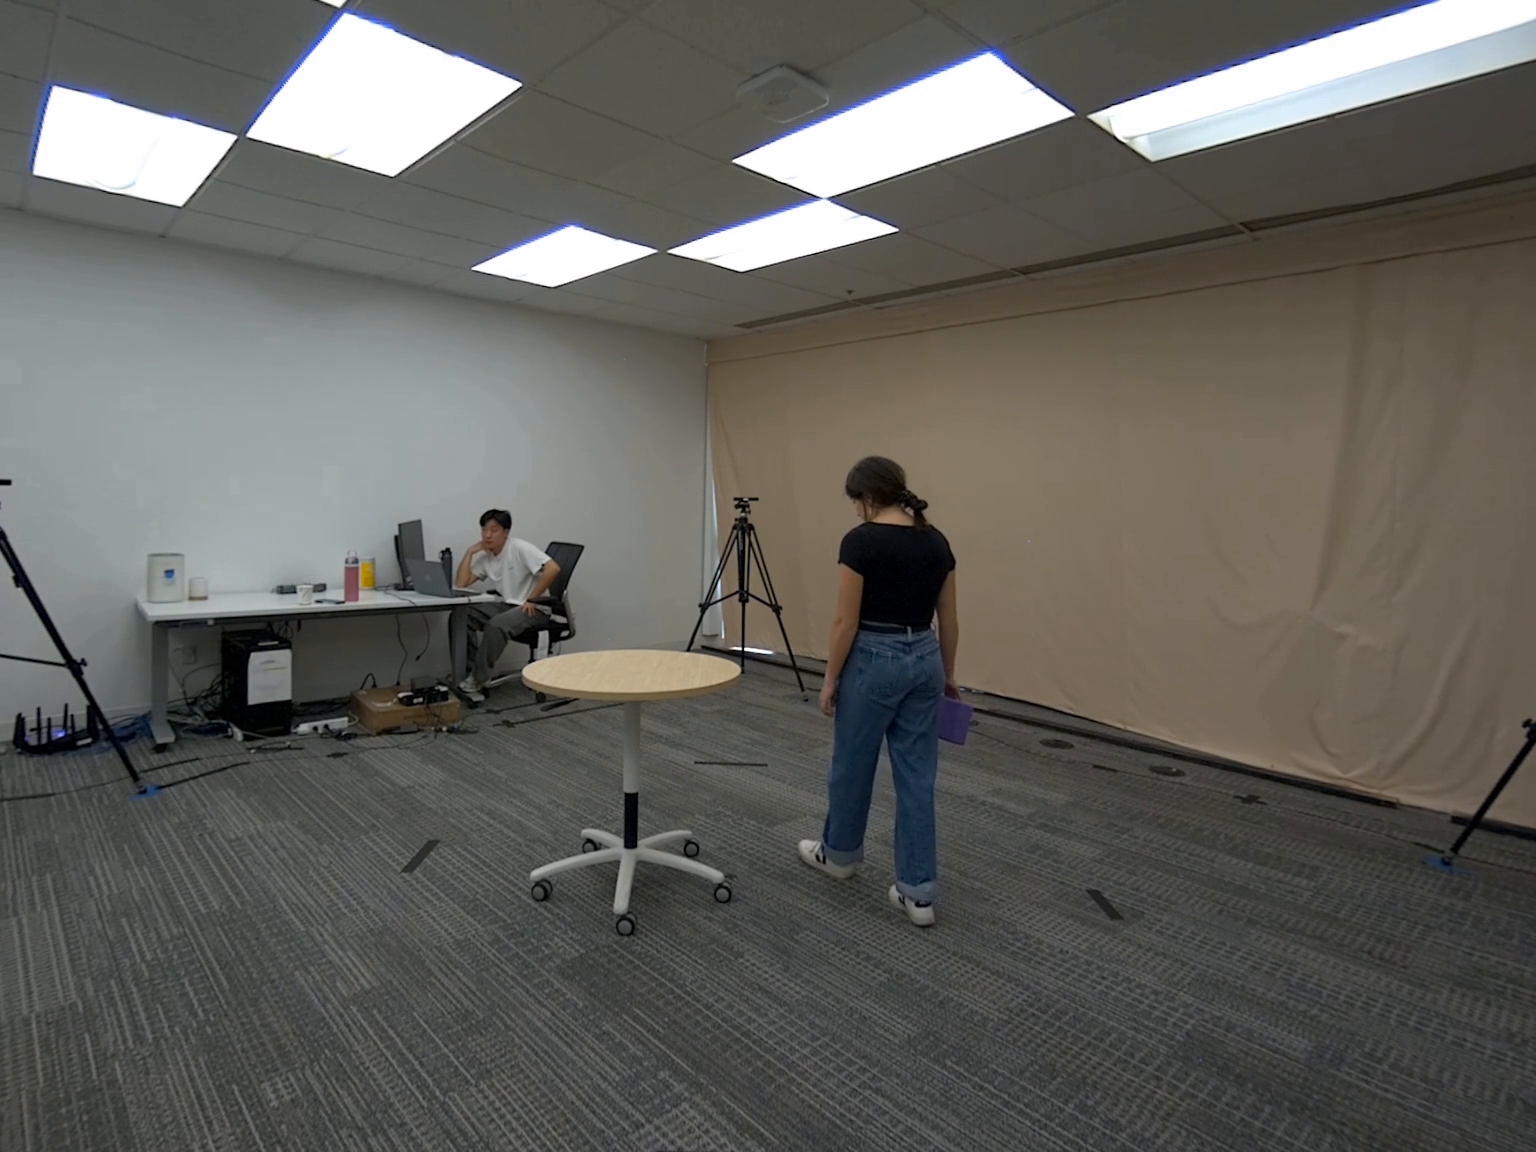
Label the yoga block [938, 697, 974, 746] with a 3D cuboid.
[{"bbox_3d":[0.622,0.513,3.089,0.074,0.149,0.235,17,-3,-33],"label":"yoga block"}]
